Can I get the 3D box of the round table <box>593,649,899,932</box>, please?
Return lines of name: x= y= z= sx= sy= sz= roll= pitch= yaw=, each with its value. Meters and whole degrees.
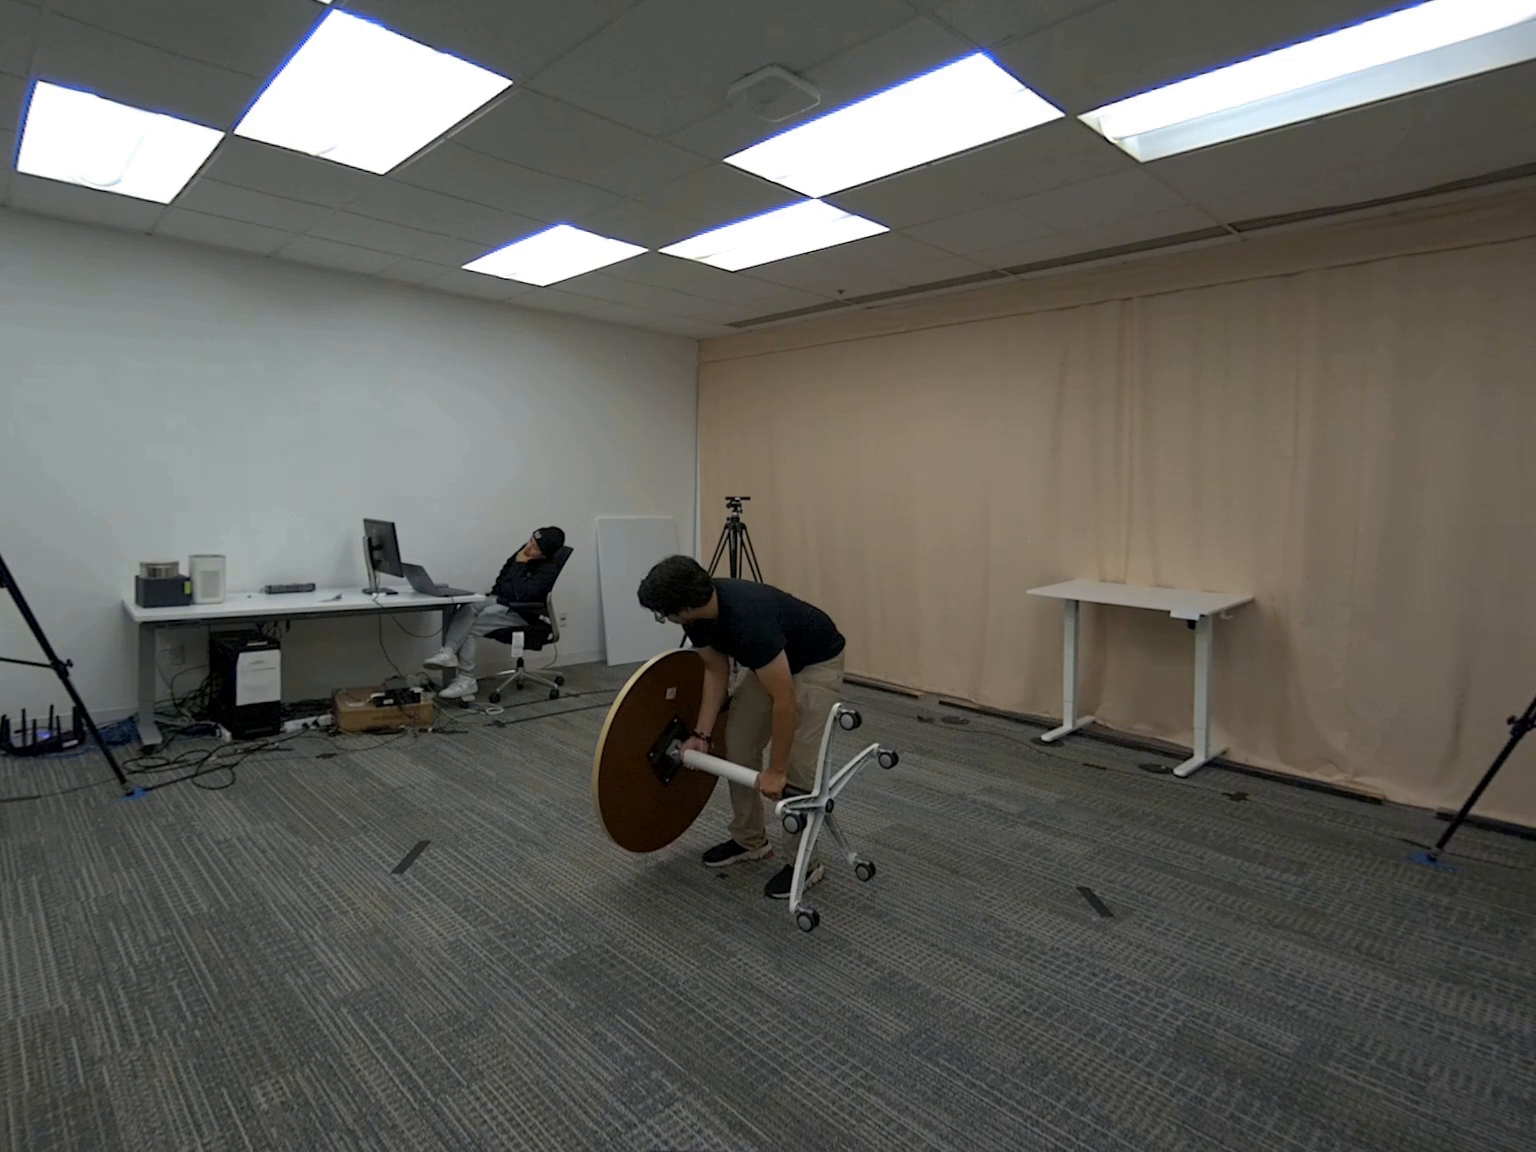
round table: x=-0.066 y=0.706 z=2.943 sx=0.806 sy=0.782 sz=0.768 roll=8 pitch=7 yaw=34
